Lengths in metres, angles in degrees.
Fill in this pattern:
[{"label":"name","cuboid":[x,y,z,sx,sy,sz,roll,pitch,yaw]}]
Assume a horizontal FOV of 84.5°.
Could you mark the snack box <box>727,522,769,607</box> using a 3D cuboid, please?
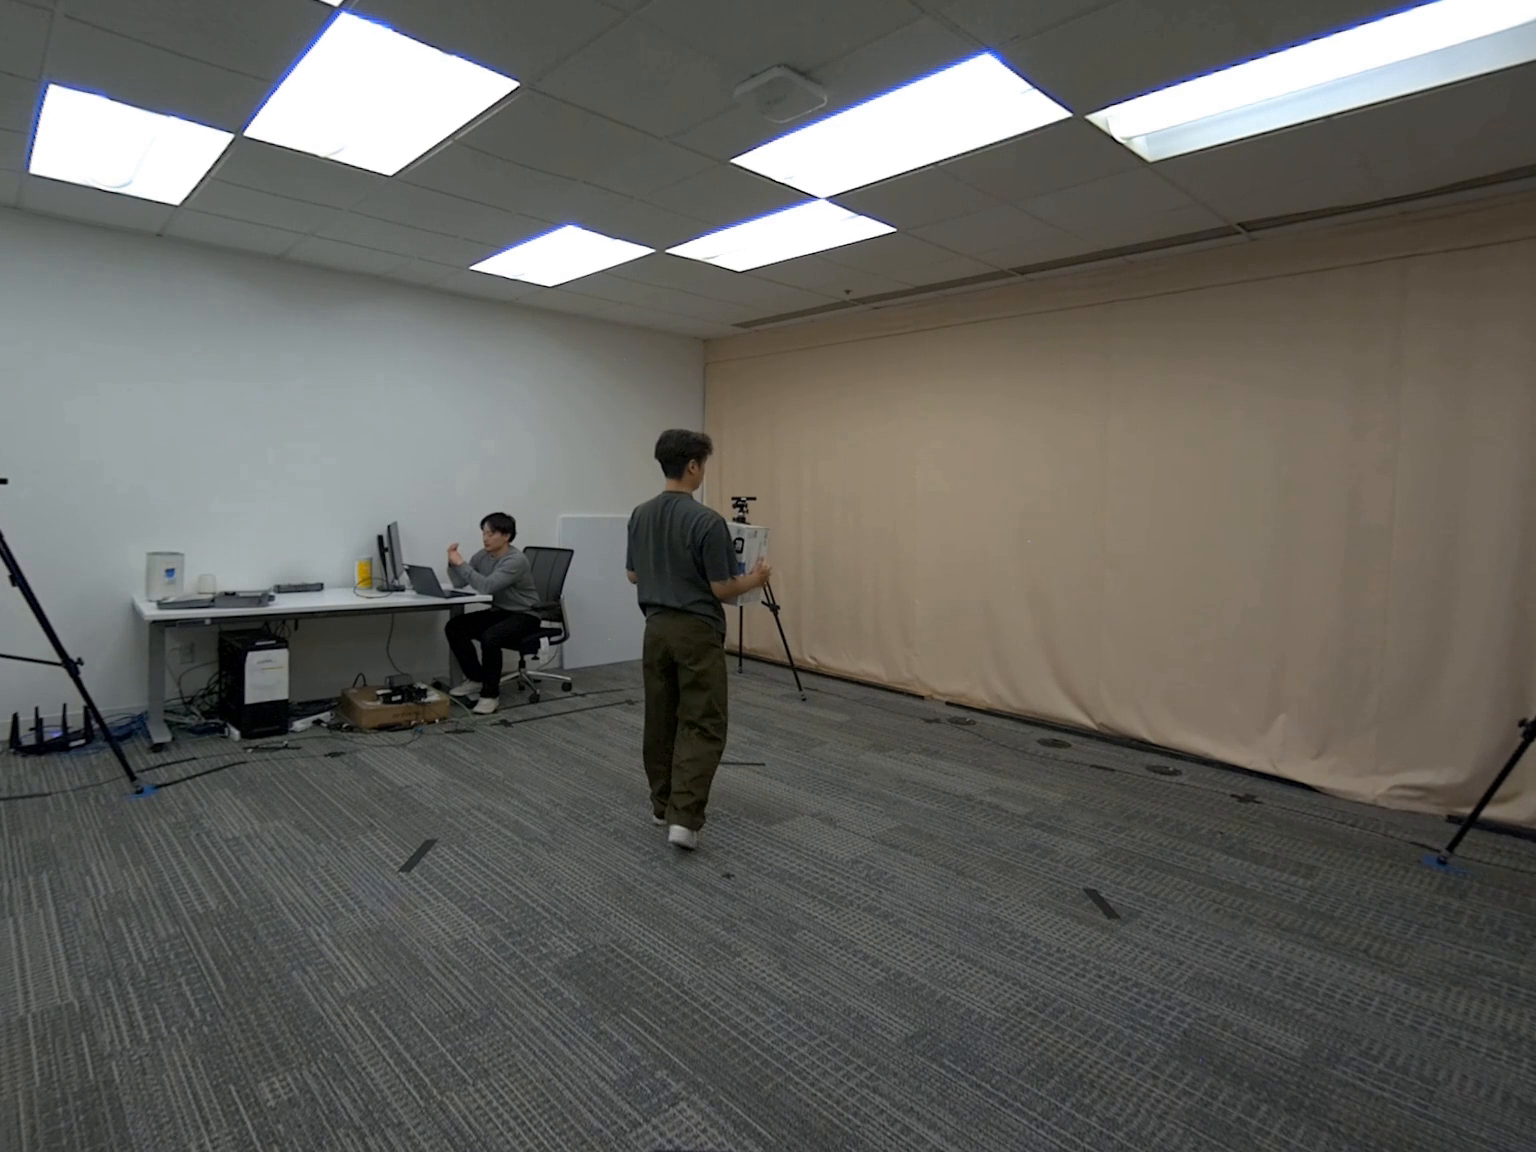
[{"label":"snack box","cuboid":[-0.224,-0.071,3.707,0.415,0.339,0.201,11,7,32]}]
